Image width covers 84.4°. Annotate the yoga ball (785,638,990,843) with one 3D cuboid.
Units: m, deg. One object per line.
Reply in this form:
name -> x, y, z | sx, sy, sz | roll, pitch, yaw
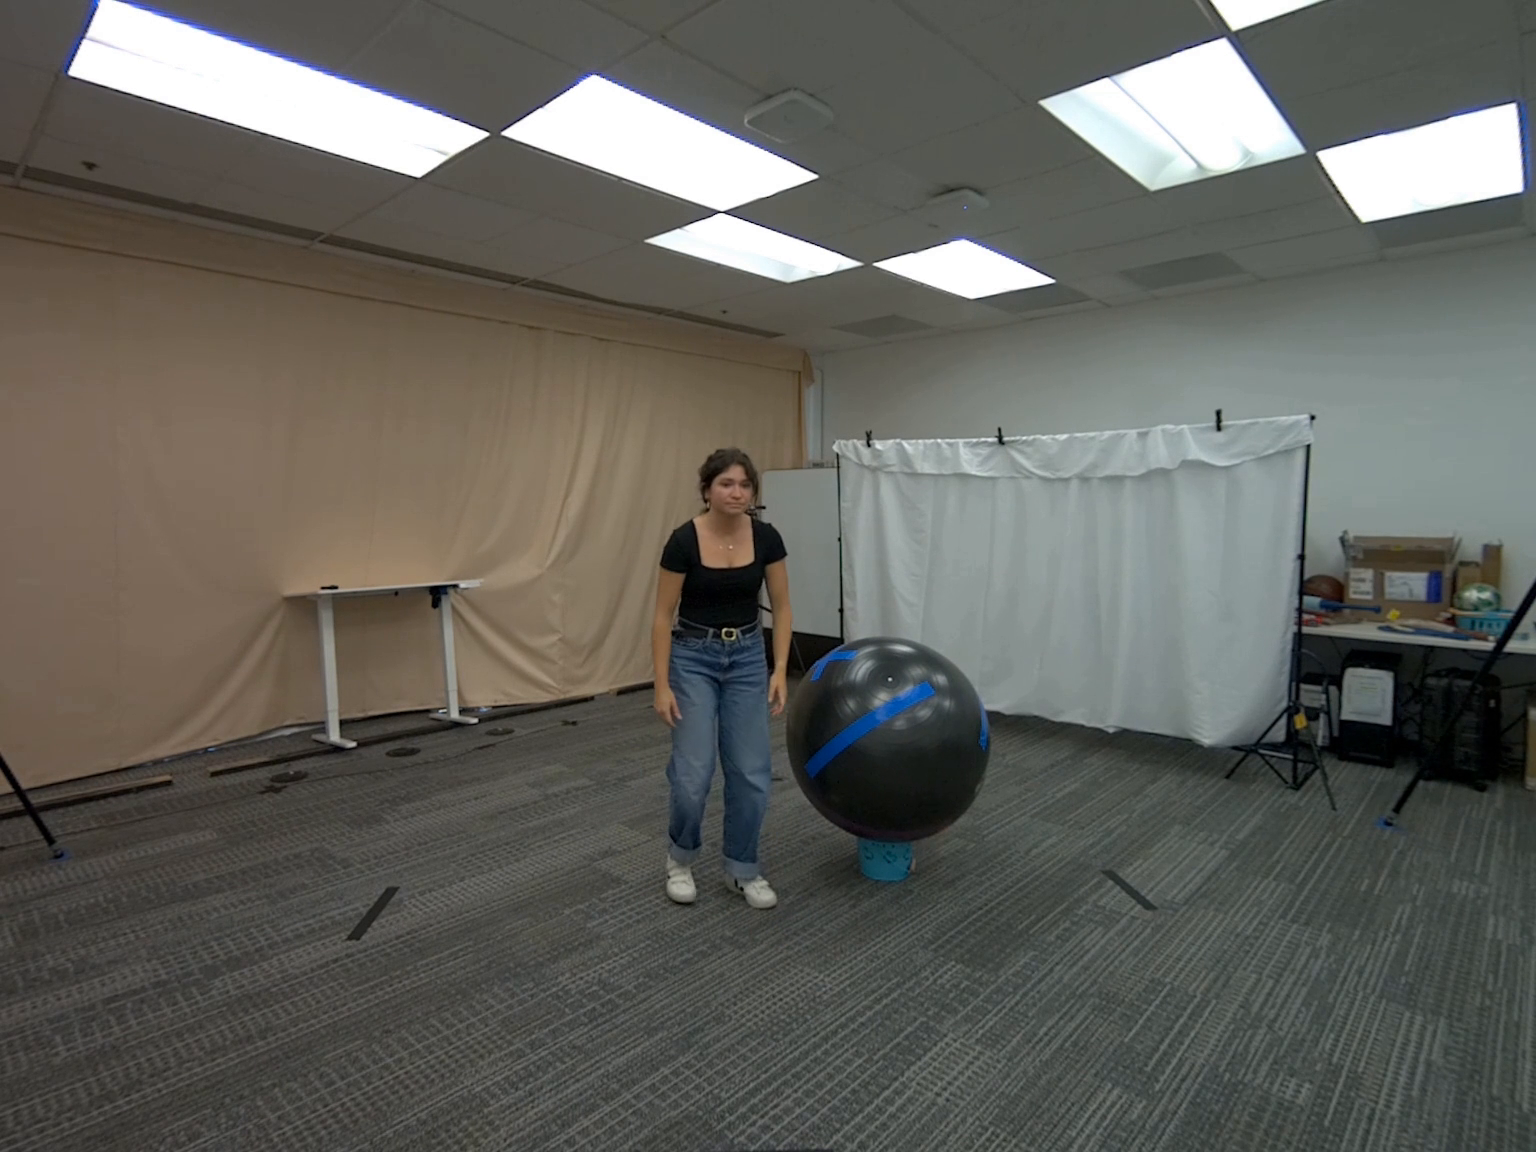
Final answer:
yoga ball -> 0.458, 0.612, 3.195 | 0.757, 0.756, 0.760 | 0, 4, -2
